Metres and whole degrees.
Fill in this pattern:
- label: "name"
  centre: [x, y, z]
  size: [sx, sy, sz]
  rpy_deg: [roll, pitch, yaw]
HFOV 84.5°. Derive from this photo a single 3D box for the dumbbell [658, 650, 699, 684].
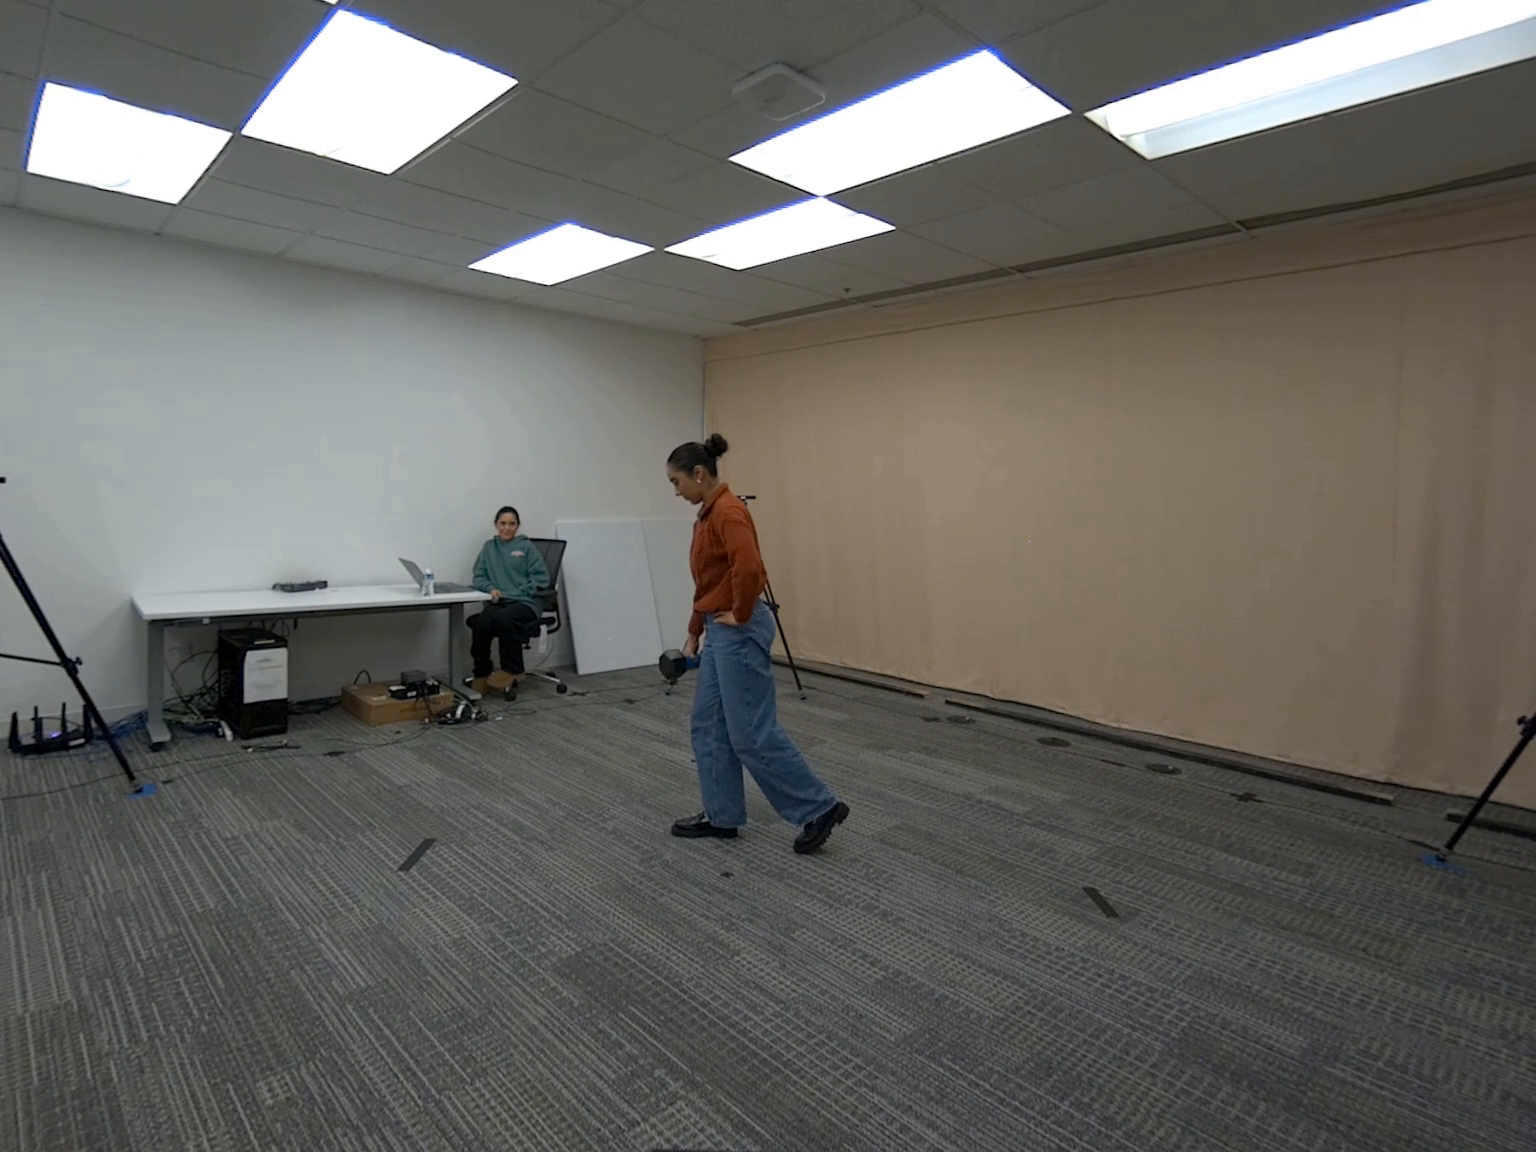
- label: "dumbbell"
  centre: [-0.316, 0.362, 3.537]
  size: [0.287, 0.123, 0.111]
  rpy_deg: [-4, 3, -37]
